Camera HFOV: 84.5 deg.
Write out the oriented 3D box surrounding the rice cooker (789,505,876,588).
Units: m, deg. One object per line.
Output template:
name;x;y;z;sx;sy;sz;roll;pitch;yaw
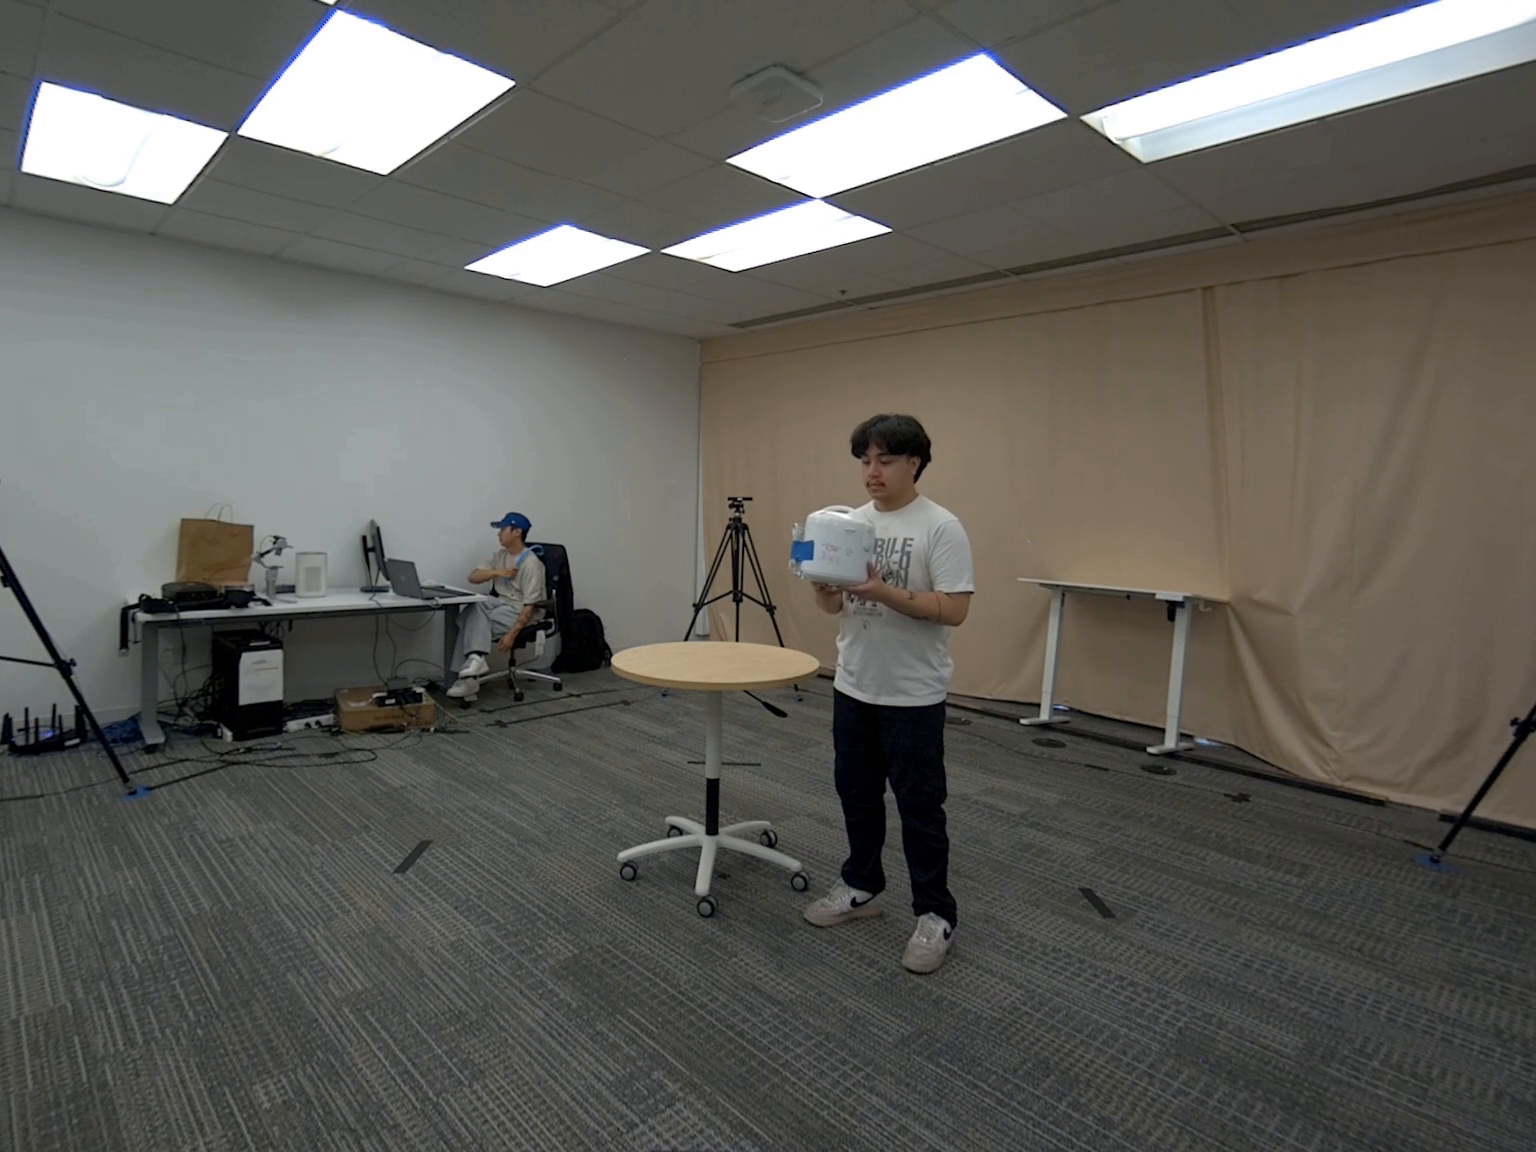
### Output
rice cooker;0.198;-0.089;2.477;0.226;0.232;0.212;10;3;42
